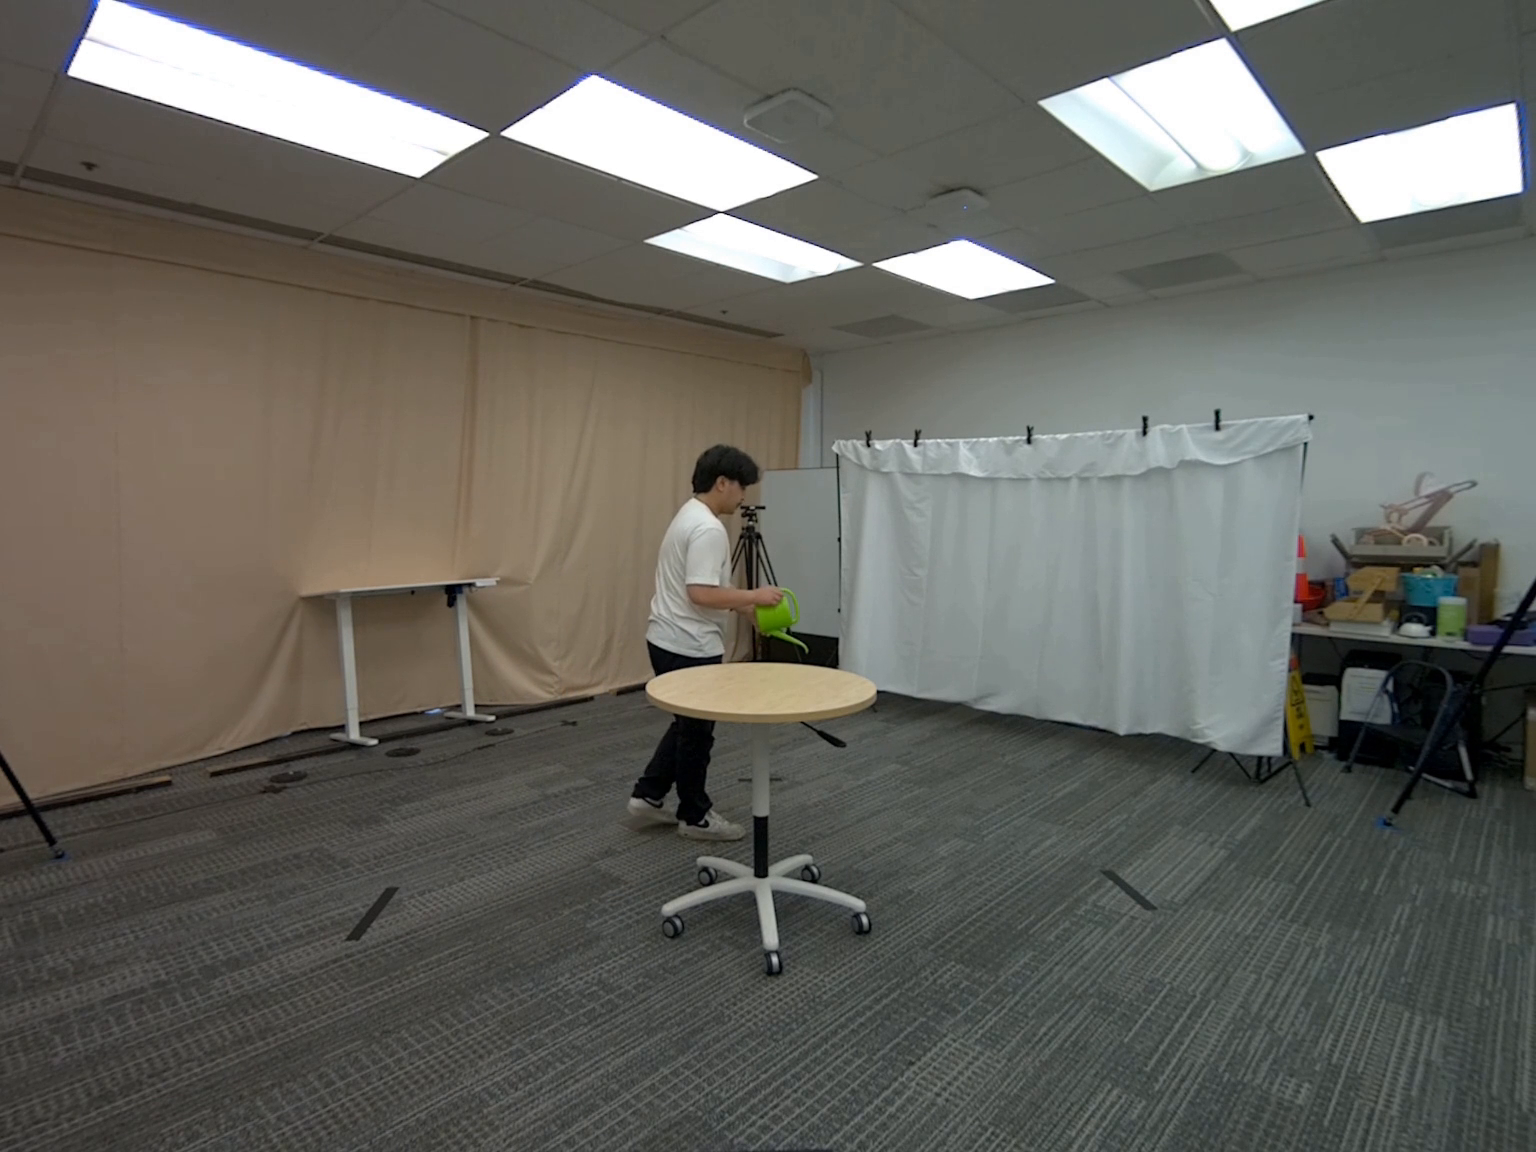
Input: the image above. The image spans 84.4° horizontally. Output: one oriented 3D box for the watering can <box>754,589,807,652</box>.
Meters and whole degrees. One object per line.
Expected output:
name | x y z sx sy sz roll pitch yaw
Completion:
watering can | 0.050 0.199 3.418 0.177 0.279 0.097 -13 -4 2
